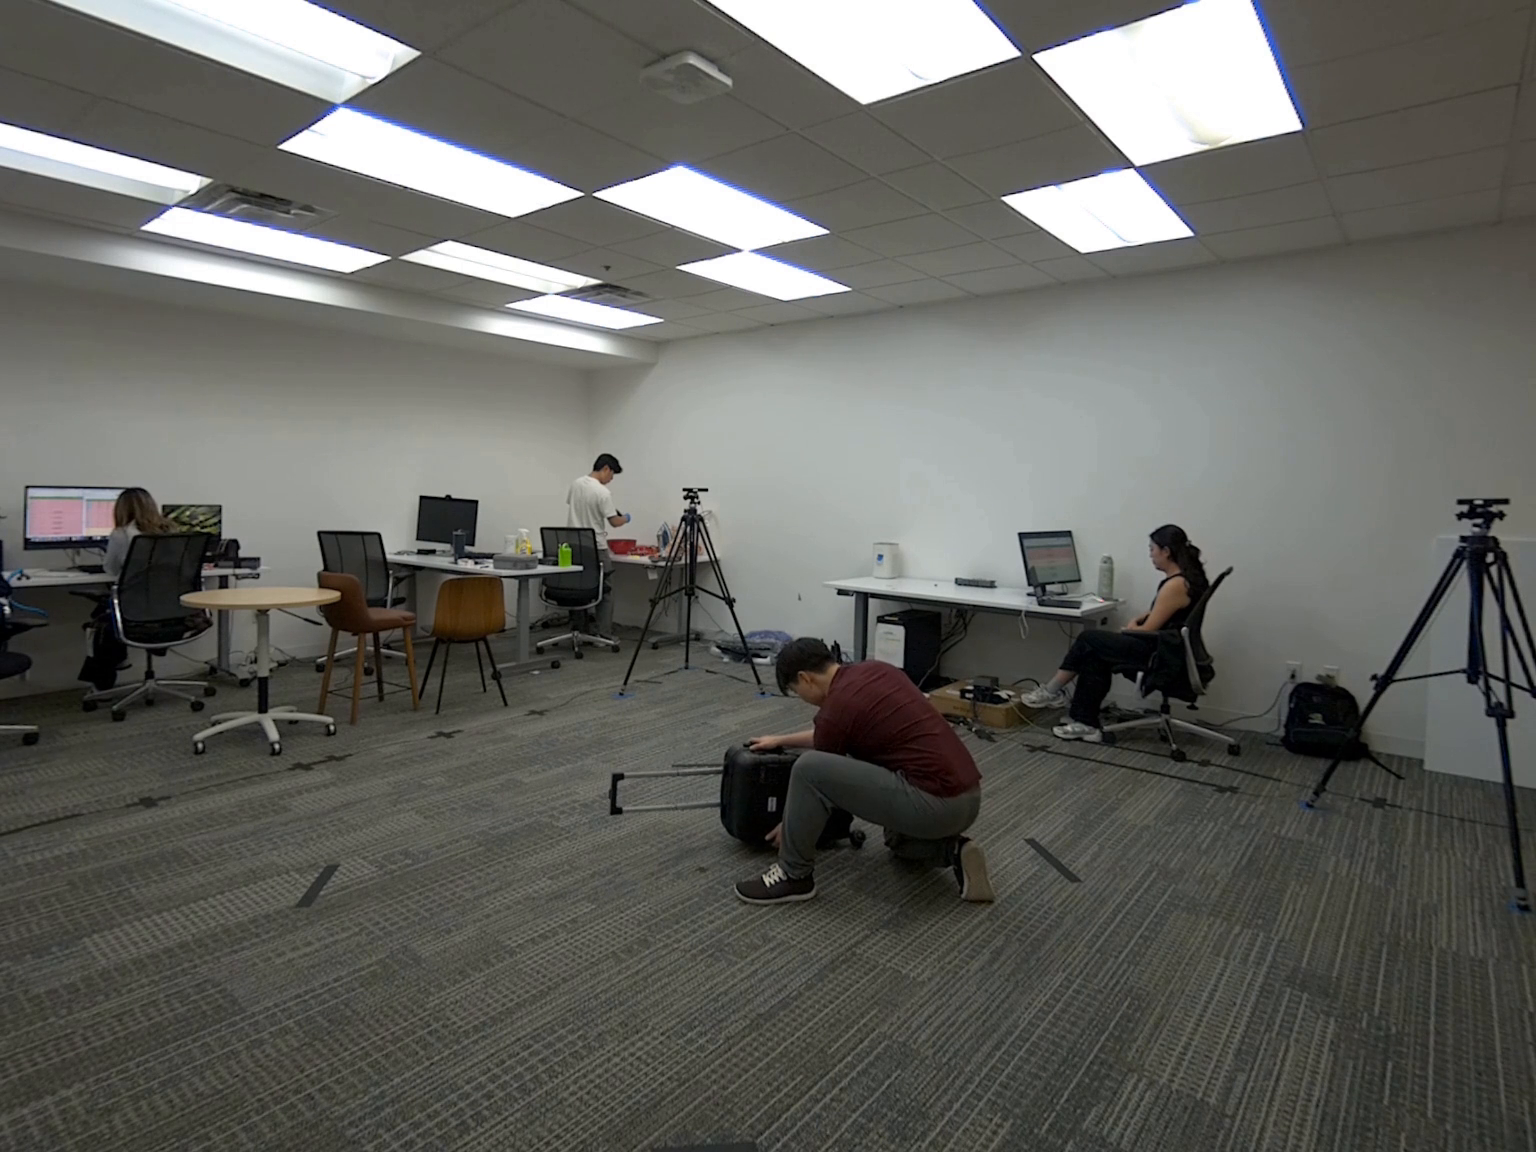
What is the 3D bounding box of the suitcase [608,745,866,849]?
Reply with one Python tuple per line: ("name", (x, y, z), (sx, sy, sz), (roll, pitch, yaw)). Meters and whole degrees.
("suitcase", (-0.116, 0.838, 3.294), (0.956, 0.384, 0.263), (3, 0, -23))
